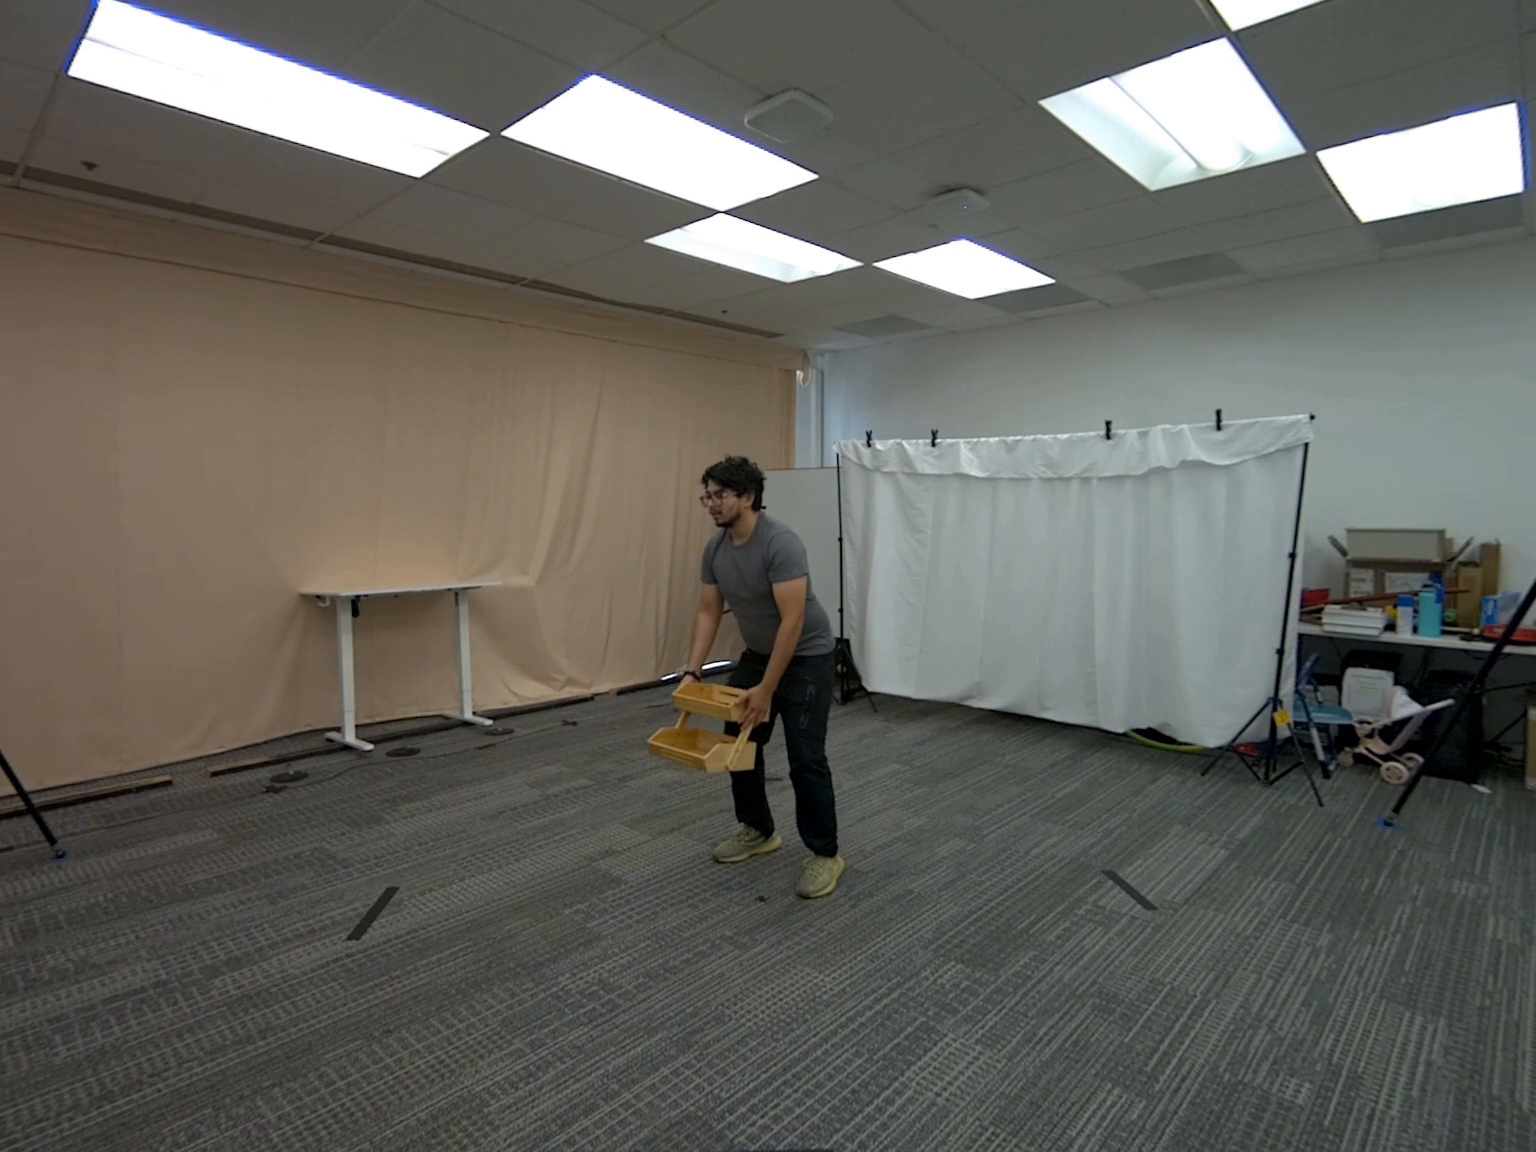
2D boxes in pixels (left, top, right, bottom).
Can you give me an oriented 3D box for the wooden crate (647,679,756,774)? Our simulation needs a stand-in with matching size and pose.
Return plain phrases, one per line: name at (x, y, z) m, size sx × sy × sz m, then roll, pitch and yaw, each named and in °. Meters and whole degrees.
wooden crate at (-0.215, 0.533, 3.018) m, size 0.335 × 0.274 × 0.291 m, roll 3°, pitch -6°, yaw 43°
